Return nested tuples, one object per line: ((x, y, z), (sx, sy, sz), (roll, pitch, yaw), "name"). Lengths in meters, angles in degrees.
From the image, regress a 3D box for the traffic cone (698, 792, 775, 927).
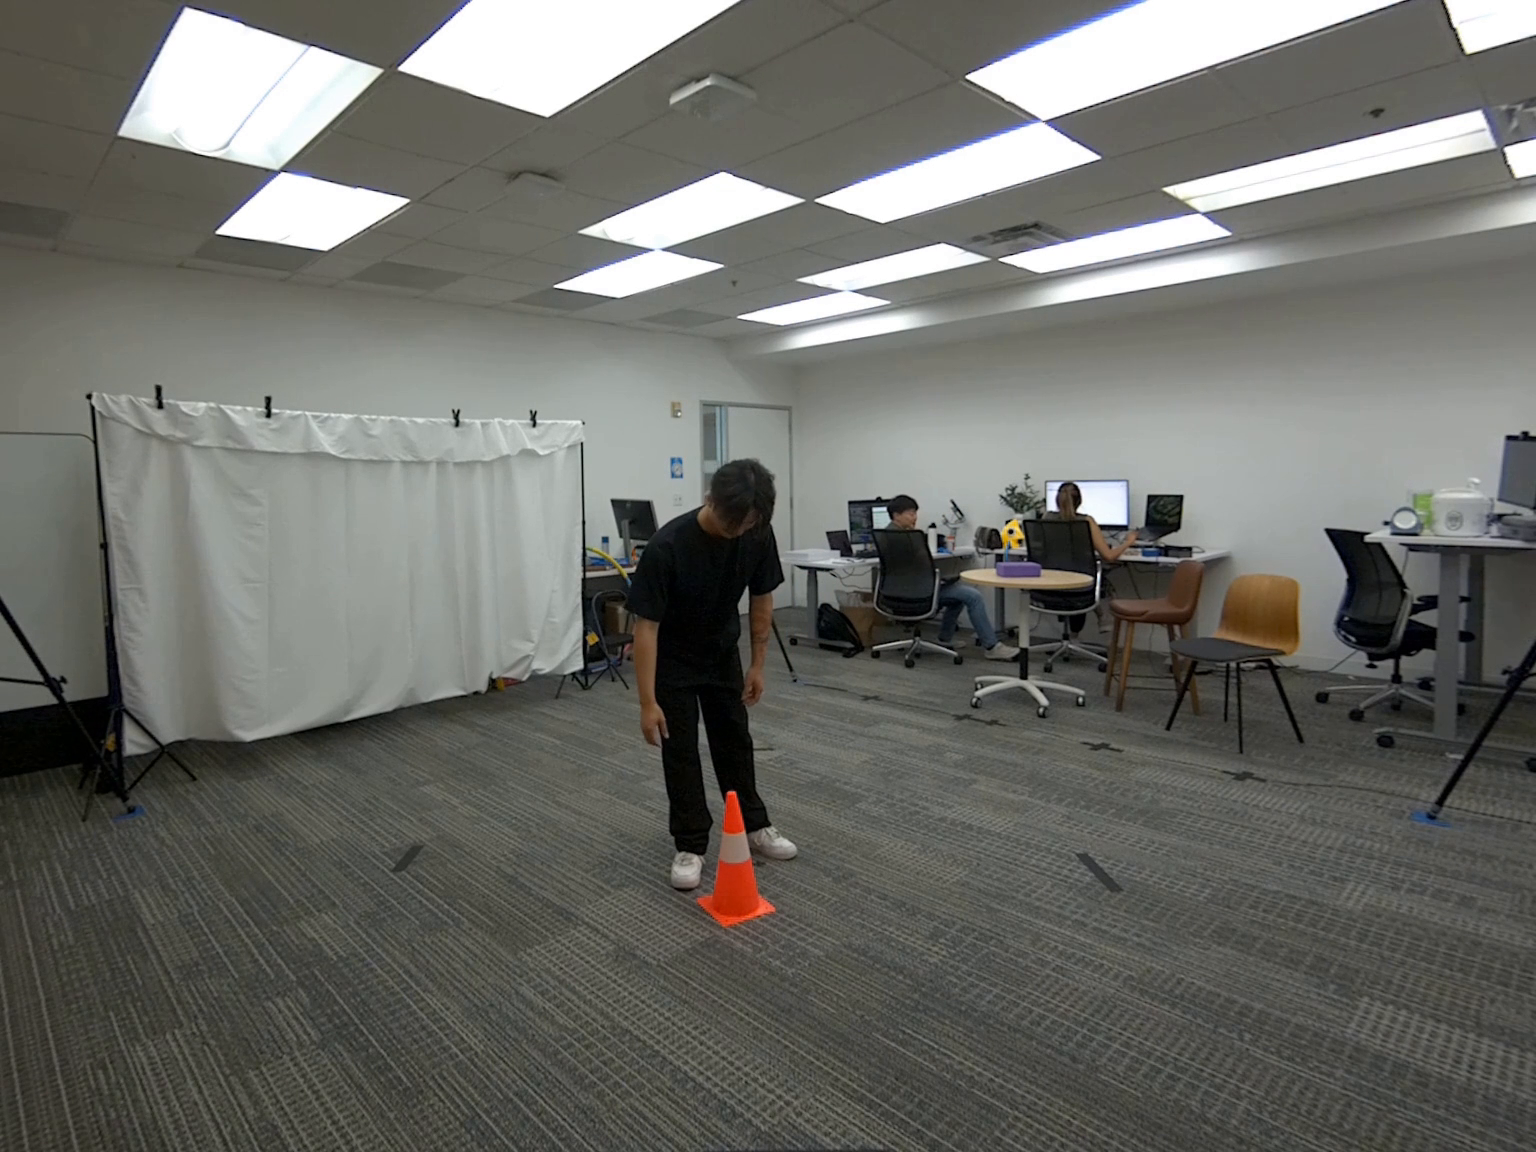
((-0.117, 0.907, 2.796), (0.200, 0.382, 0.209), (-7, 5, -30), "traffic cone")
